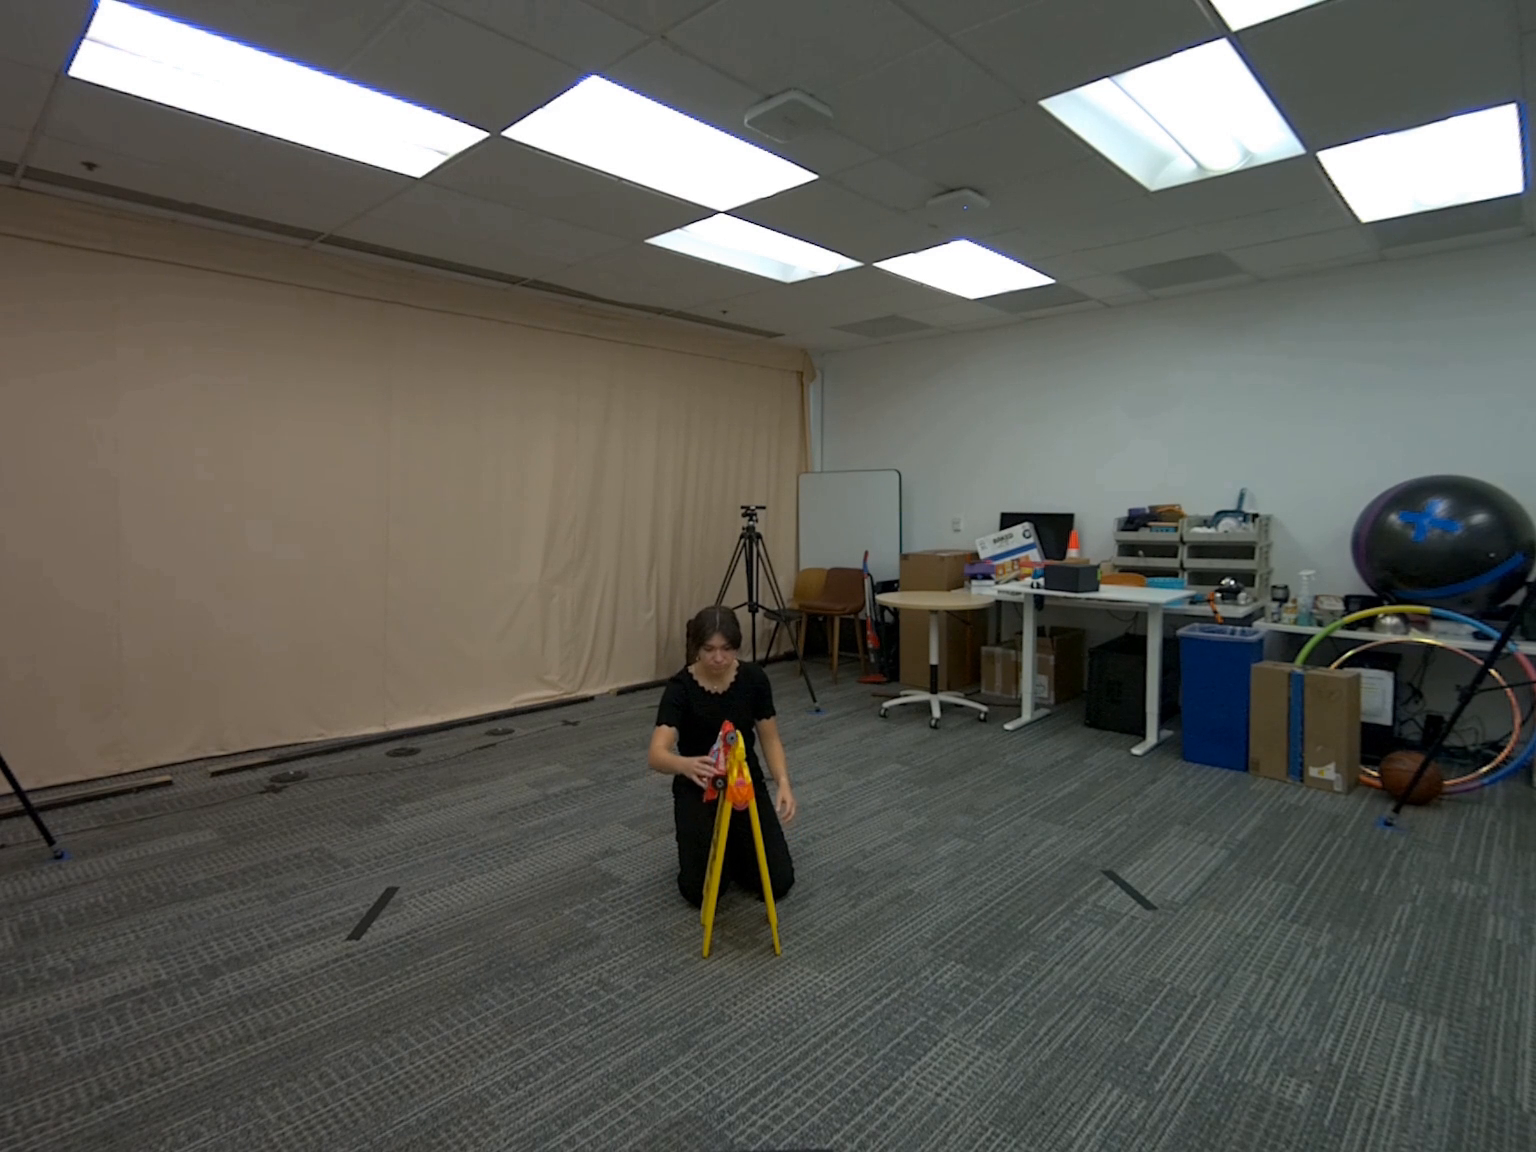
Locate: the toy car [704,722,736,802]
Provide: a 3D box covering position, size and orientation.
[{"bbox_3d":[-0.146,0.599,2.691,0.083,0.254,0.131,25,-3,-7],"label":"toy car"}]
